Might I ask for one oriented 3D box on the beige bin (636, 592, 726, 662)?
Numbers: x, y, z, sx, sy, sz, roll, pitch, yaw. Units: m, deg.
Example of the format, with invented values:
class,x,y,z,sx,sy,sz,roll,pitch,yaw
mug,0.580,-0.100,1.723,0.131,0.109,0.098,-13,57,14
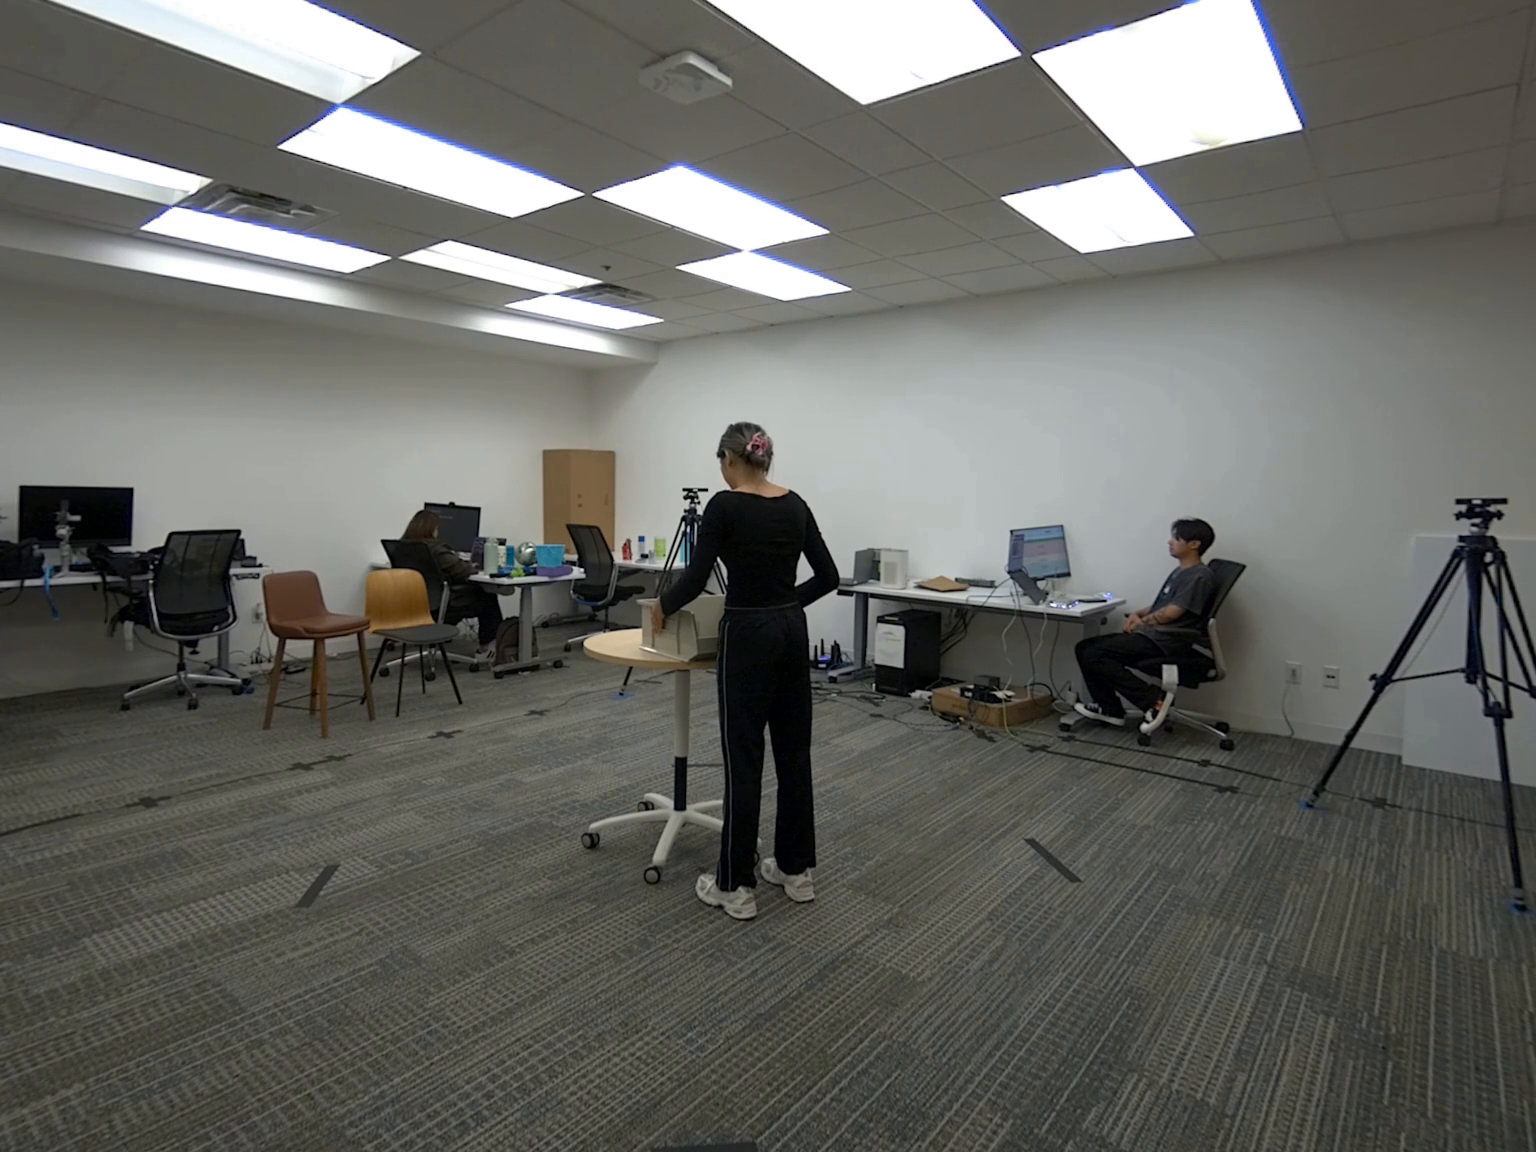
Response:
class,x,y,z,sx,sy,sz,roll,pitch,yaw
beige bin,-0.209,0.177,3.124,0.410,0.189,0.389,-3,3,-38
